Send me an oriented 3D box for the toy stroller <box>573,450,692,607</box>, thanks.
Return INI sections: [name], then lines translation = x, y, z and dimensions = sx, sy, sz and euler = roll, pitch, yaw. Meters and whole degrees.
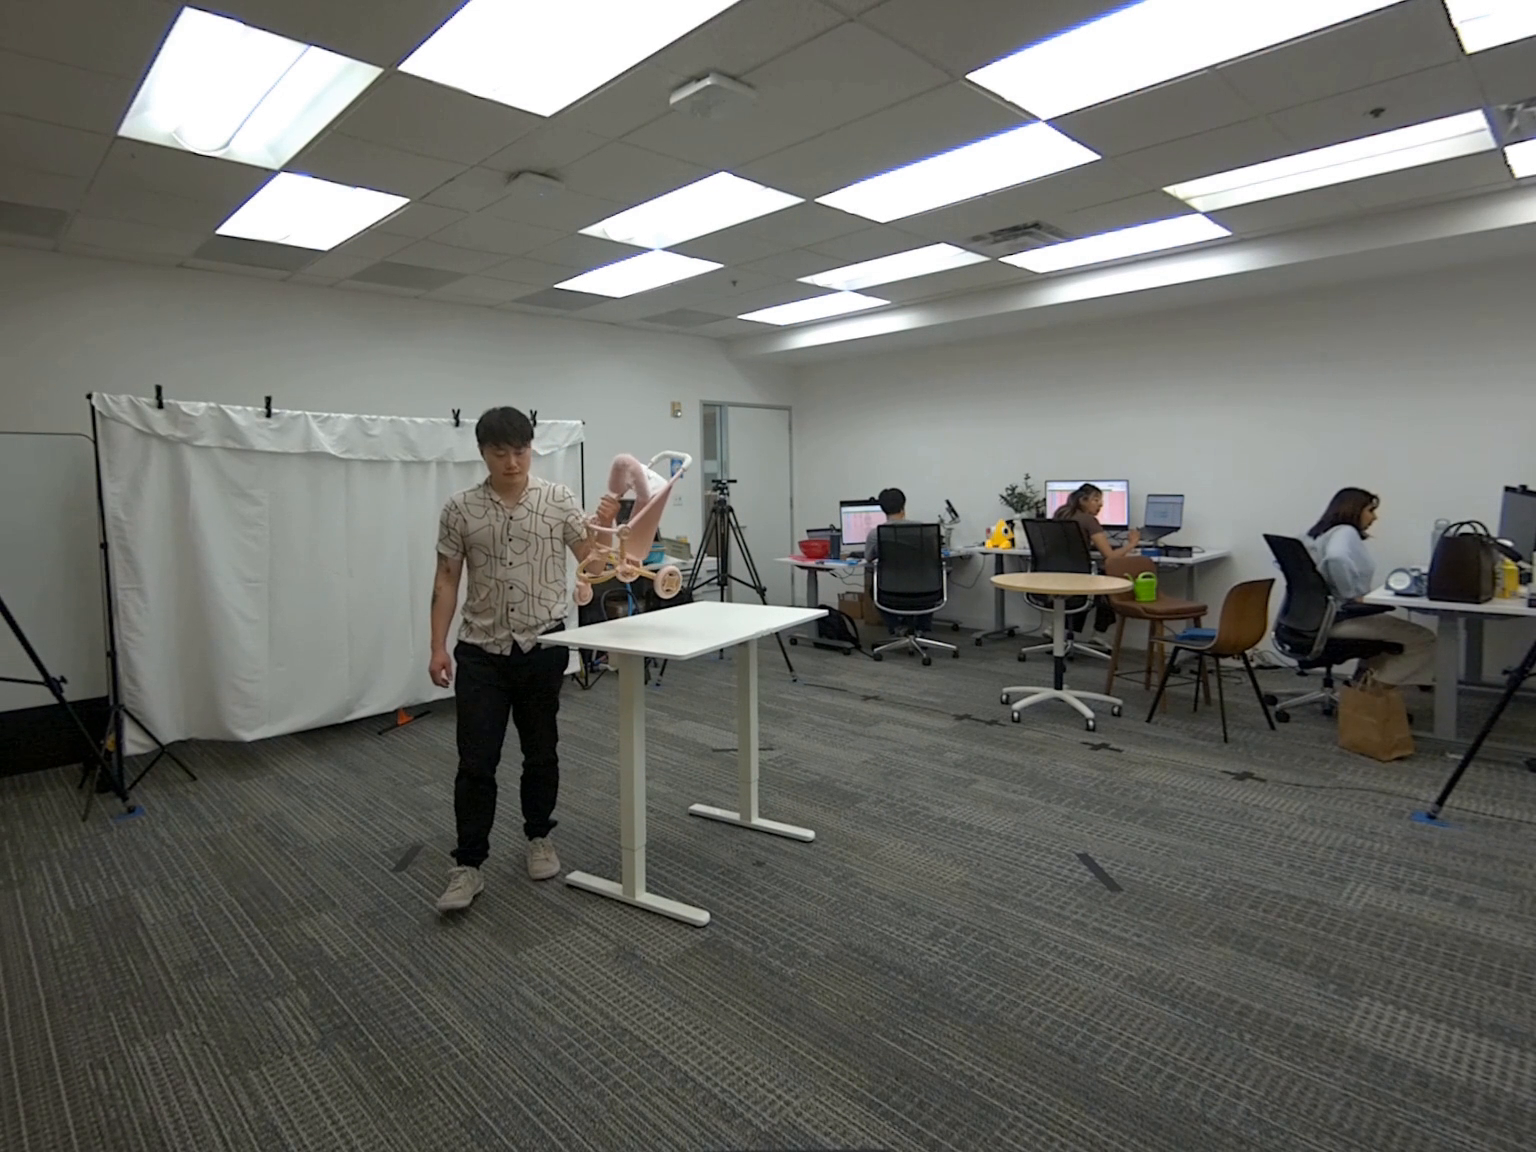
[toy stroller]
translation = -0.468, -0.164, 2.831
dimensions = 0.331, 0.532, 0.291
euler = 5, 8, -37
